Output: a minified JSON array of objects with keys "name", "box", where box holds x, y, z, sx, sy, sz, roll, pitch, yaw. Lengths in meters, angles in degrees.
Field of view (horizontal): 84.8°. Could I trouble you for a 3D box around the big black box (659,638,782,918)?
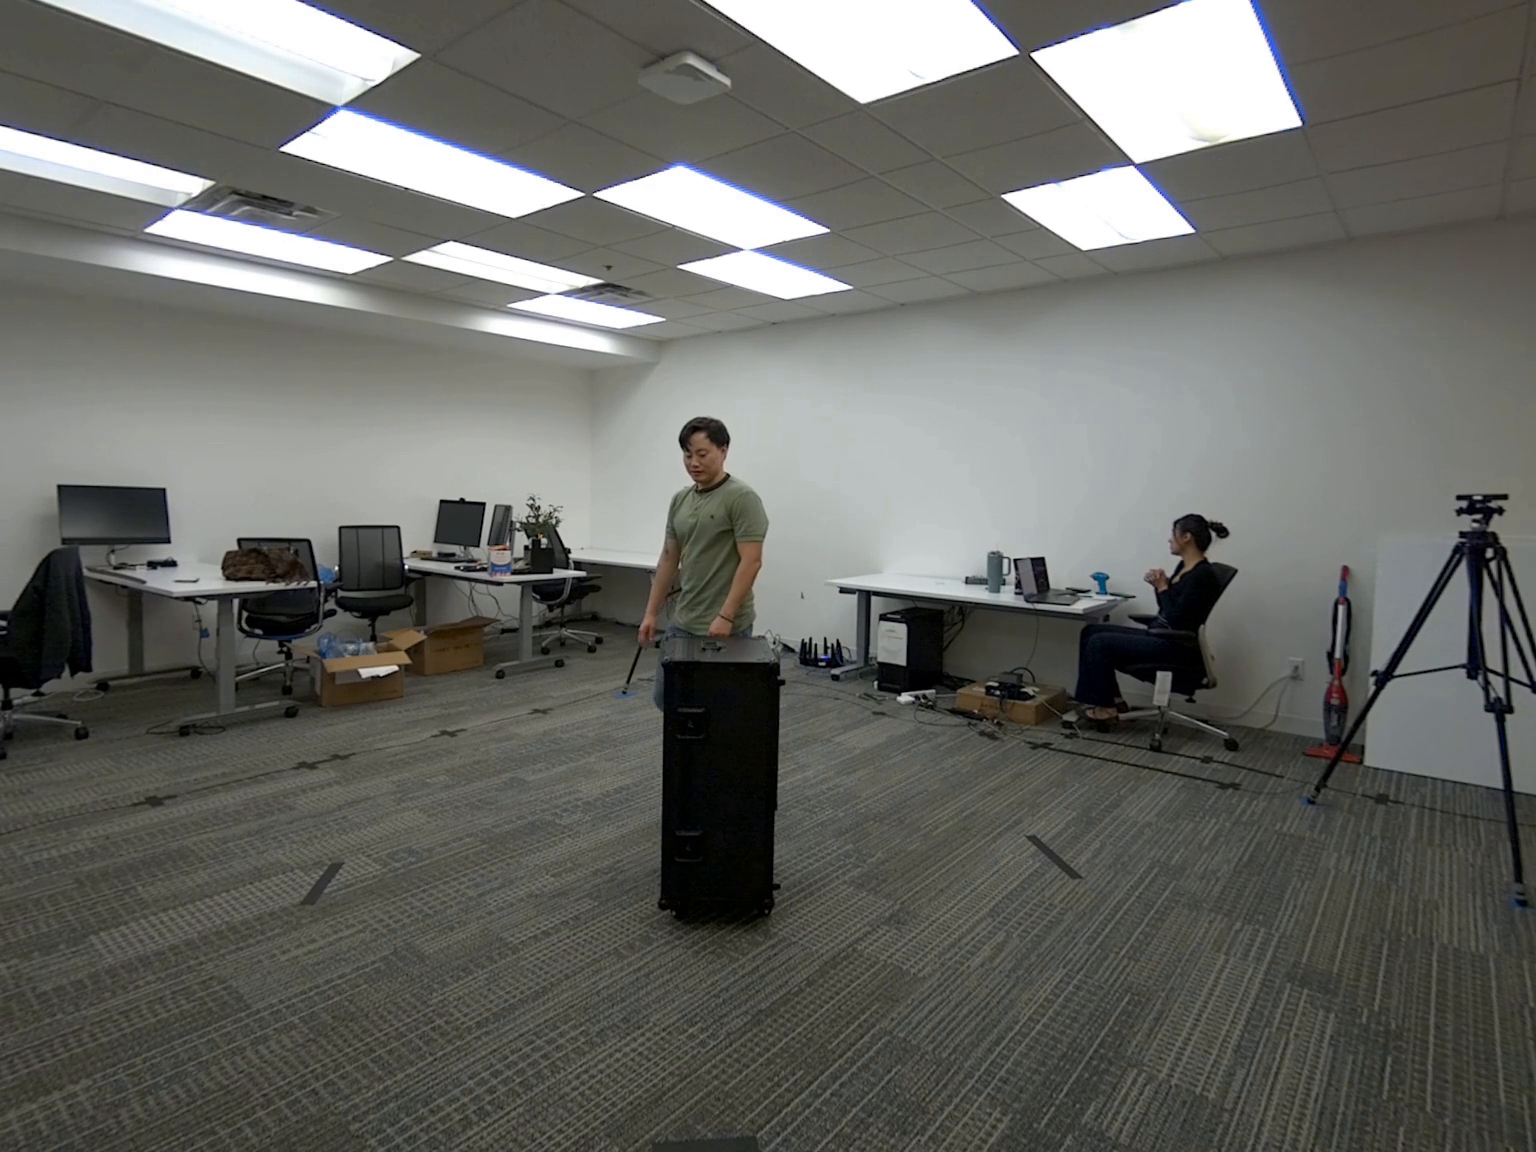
[{"name":"big black box","box":[-0.173,0.663,2.881,0.395,0.859,0.524,1,3,-3]}]
